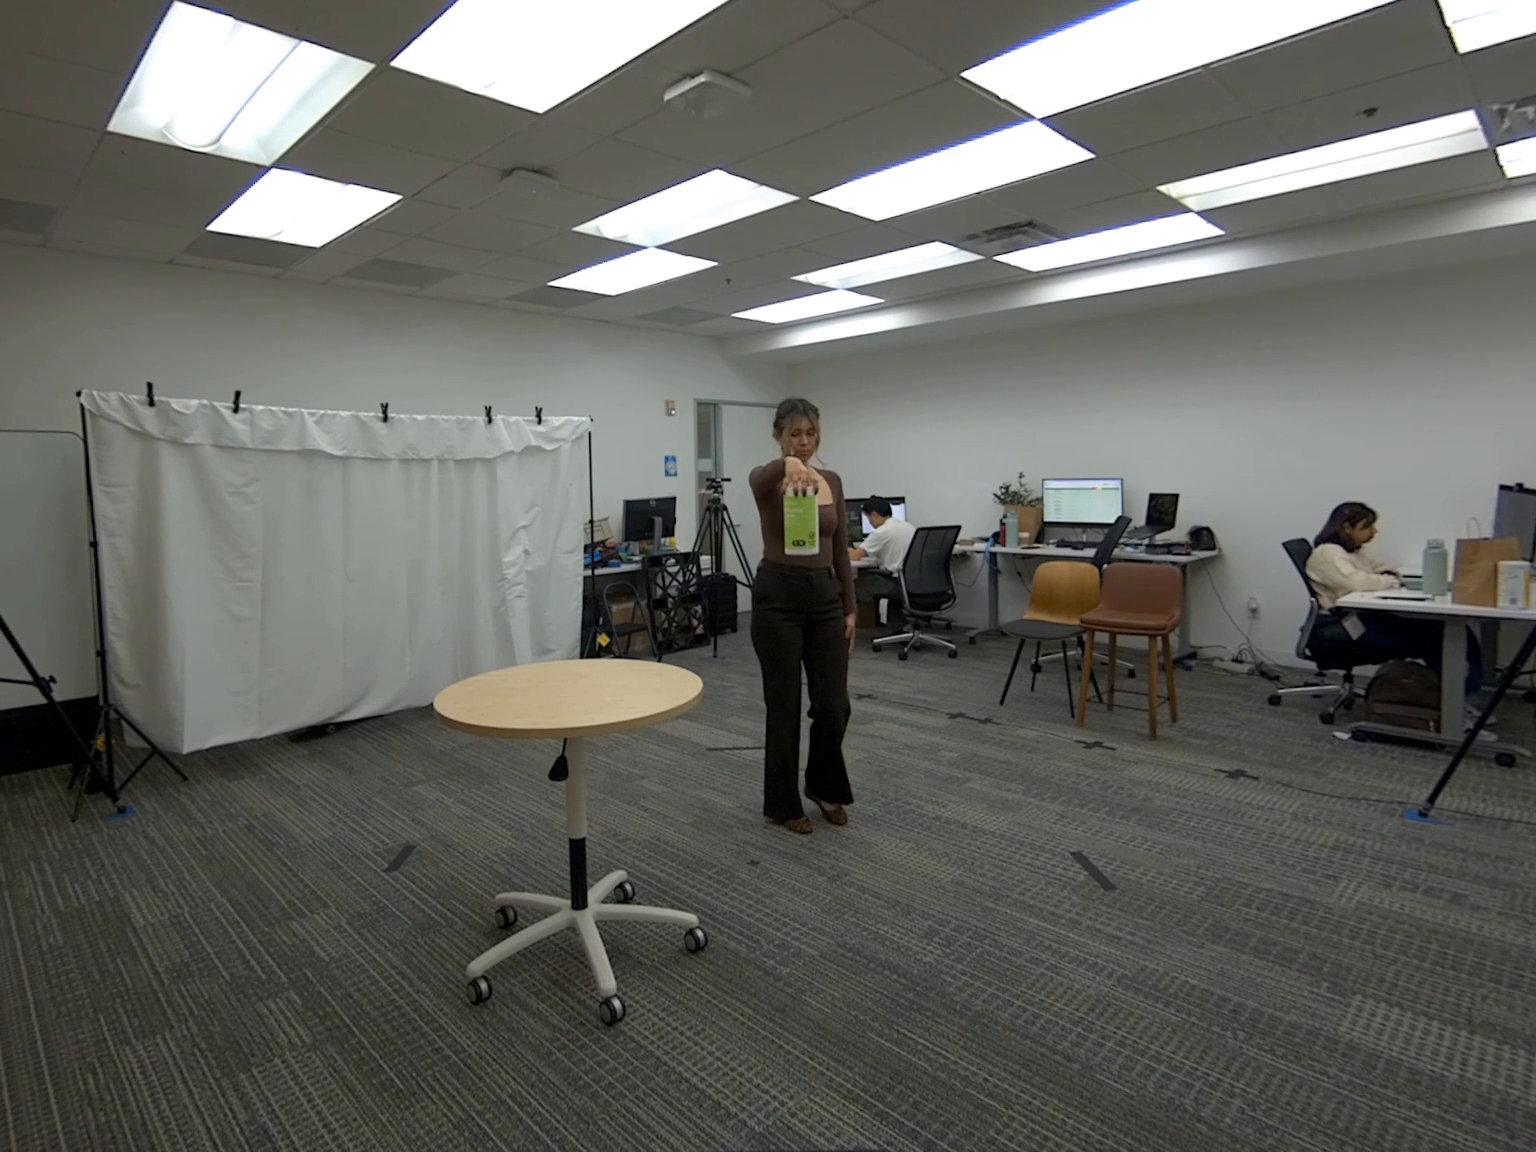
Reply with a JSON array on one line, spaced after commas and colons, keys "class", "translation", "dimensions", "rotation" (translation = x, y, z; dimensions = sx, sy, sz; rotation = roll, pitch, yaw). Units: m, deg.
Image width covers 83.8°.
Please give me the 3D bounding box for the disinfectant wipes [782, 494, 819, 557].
[{"class": "disinfectant wipes", "translation": [0.109, -0.175, 2.723], "dimensions": [0.118, 0.216, 0.118], "rotation": [-2, 7, -1]}]
